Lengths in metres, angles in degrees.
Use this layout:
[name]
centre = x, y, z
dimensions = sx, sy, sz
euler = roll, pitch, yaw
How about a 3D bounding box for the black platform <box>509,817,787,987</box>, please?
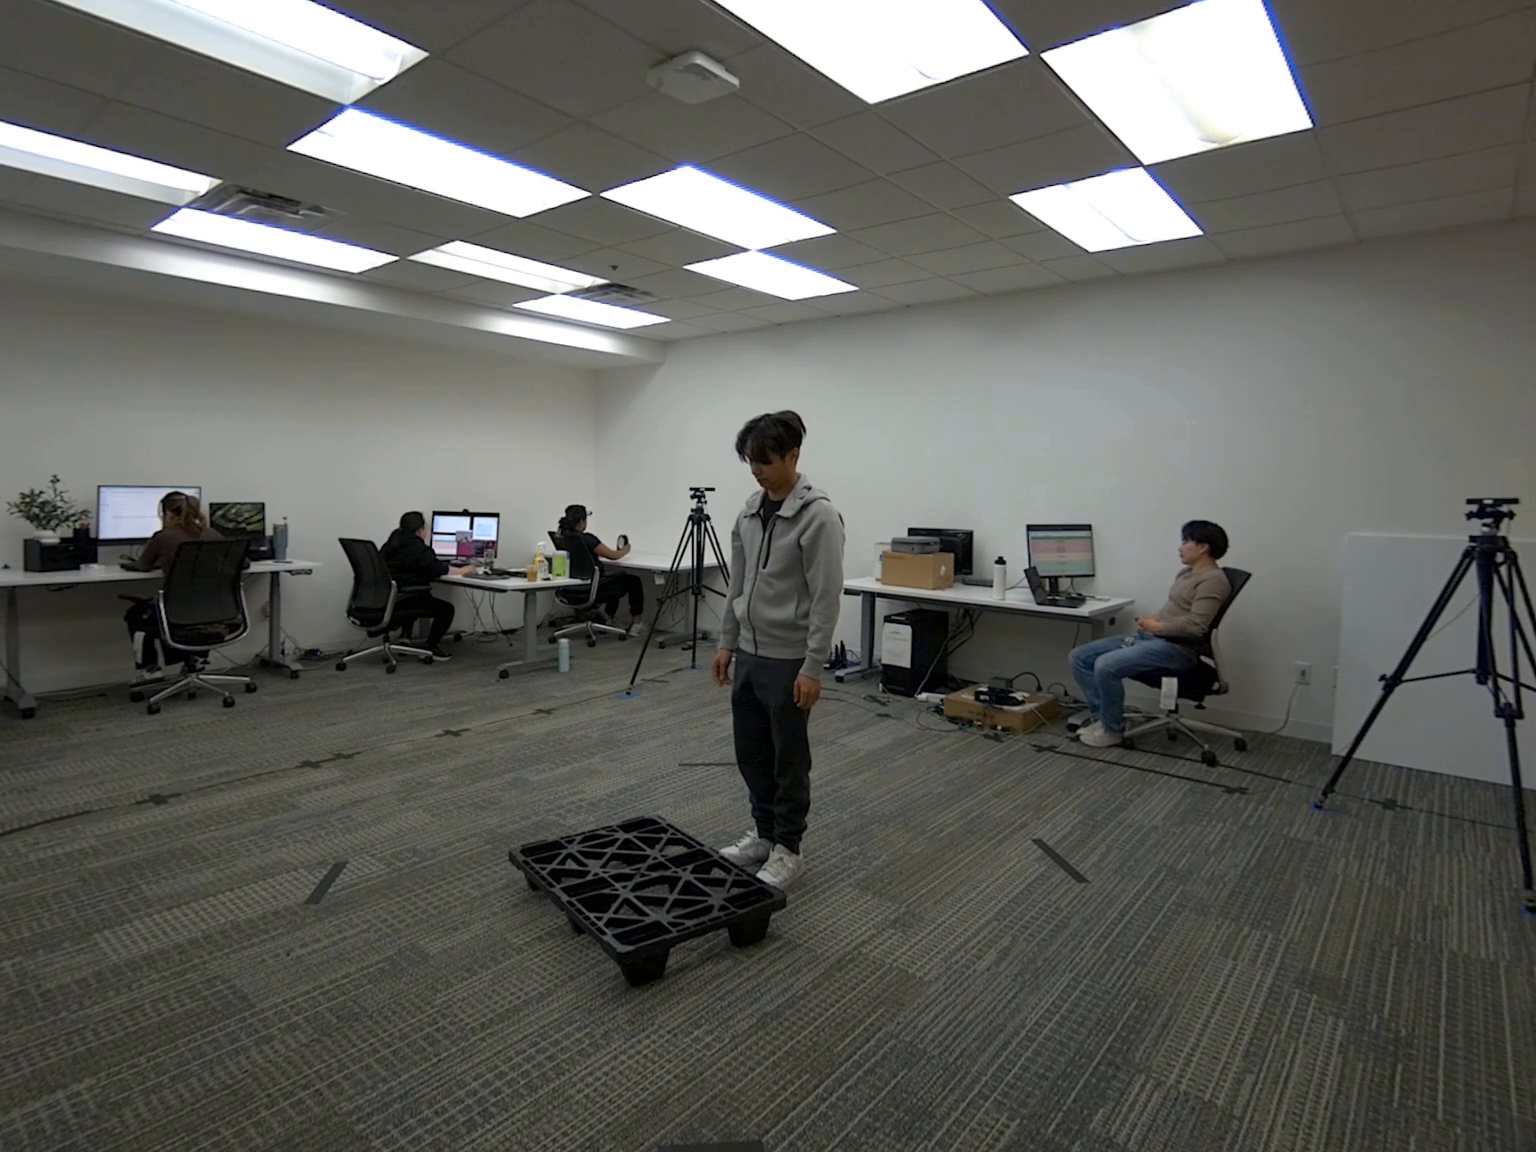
[black platform]
centre = -0.427, 1.028, 2.790
dimensions = 0.587, 0.143, 0.833
euler = -2, 6, -37
